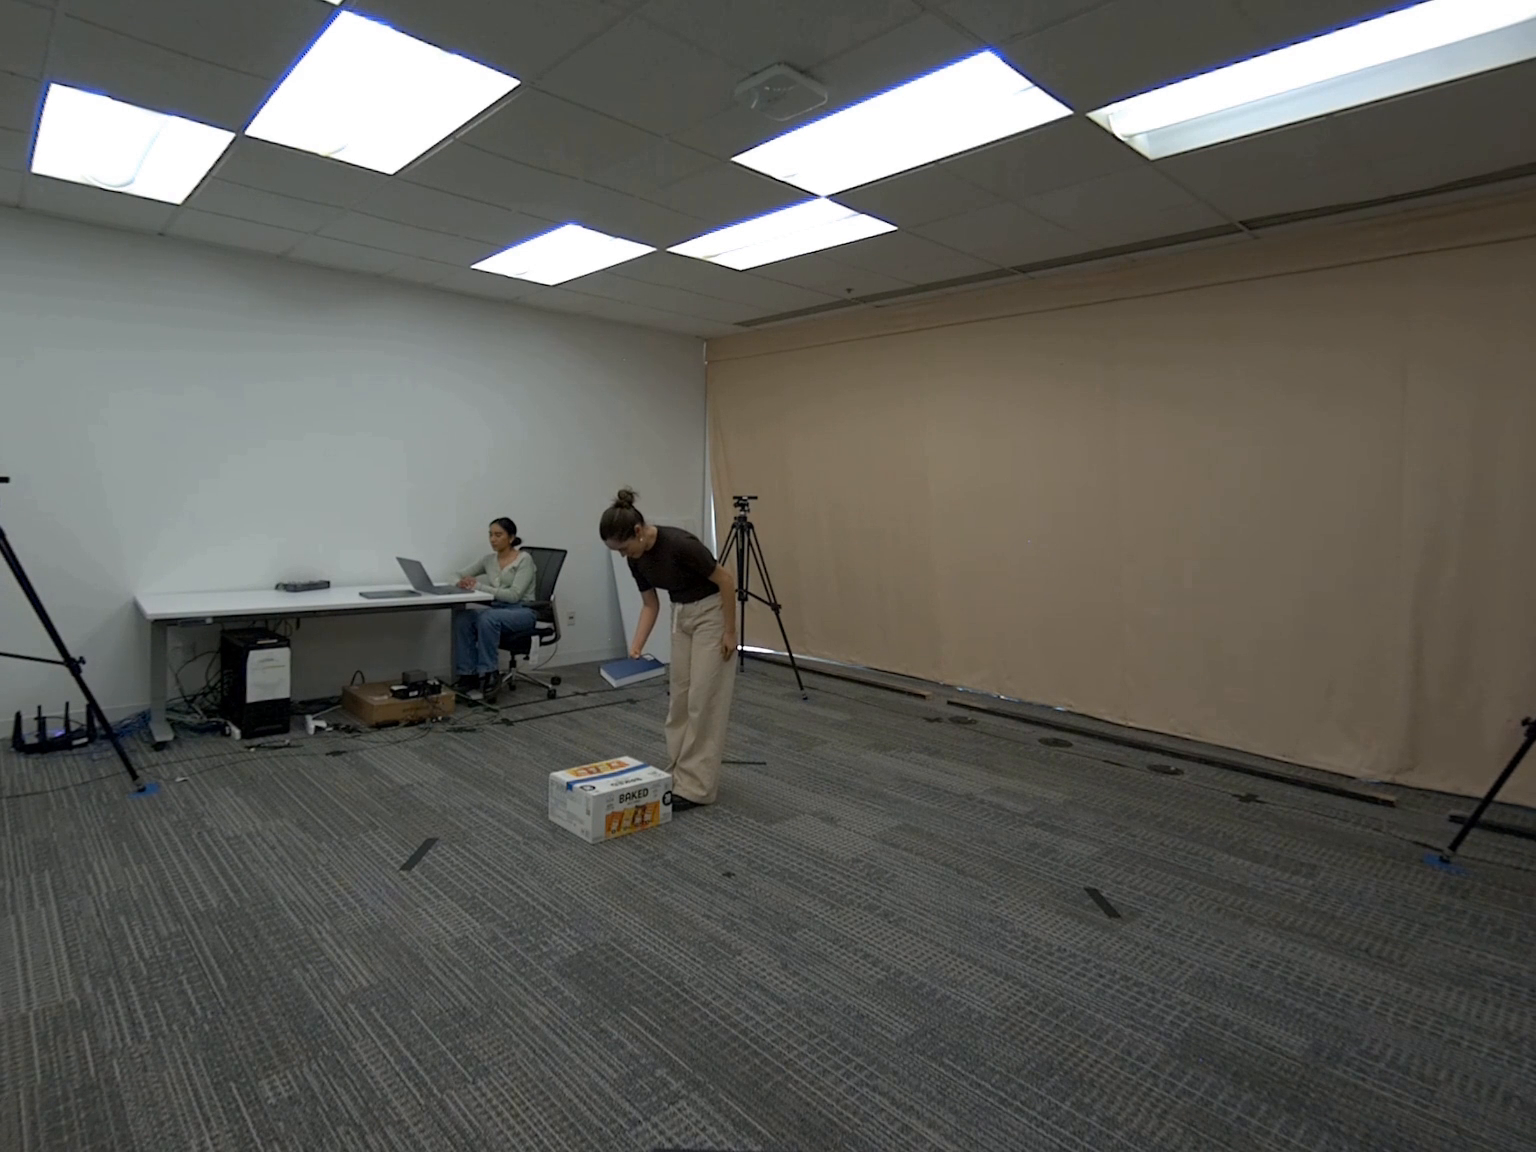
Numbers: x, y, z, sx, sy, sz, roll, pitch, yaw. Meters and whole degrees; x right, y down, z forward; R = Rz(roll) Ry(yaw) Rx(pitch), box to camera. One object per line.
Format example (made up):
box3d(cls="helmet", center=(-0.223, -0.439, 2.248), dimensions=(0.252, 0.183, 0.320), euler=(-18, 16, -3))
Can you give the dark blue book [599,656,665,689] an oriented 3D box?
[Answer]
box3d(cls="dark blue book", center=(-0.602, 0.406, 3.690), dimensions=(0.241, 0.044, 0.168), euler=(-12, 21, -32))
